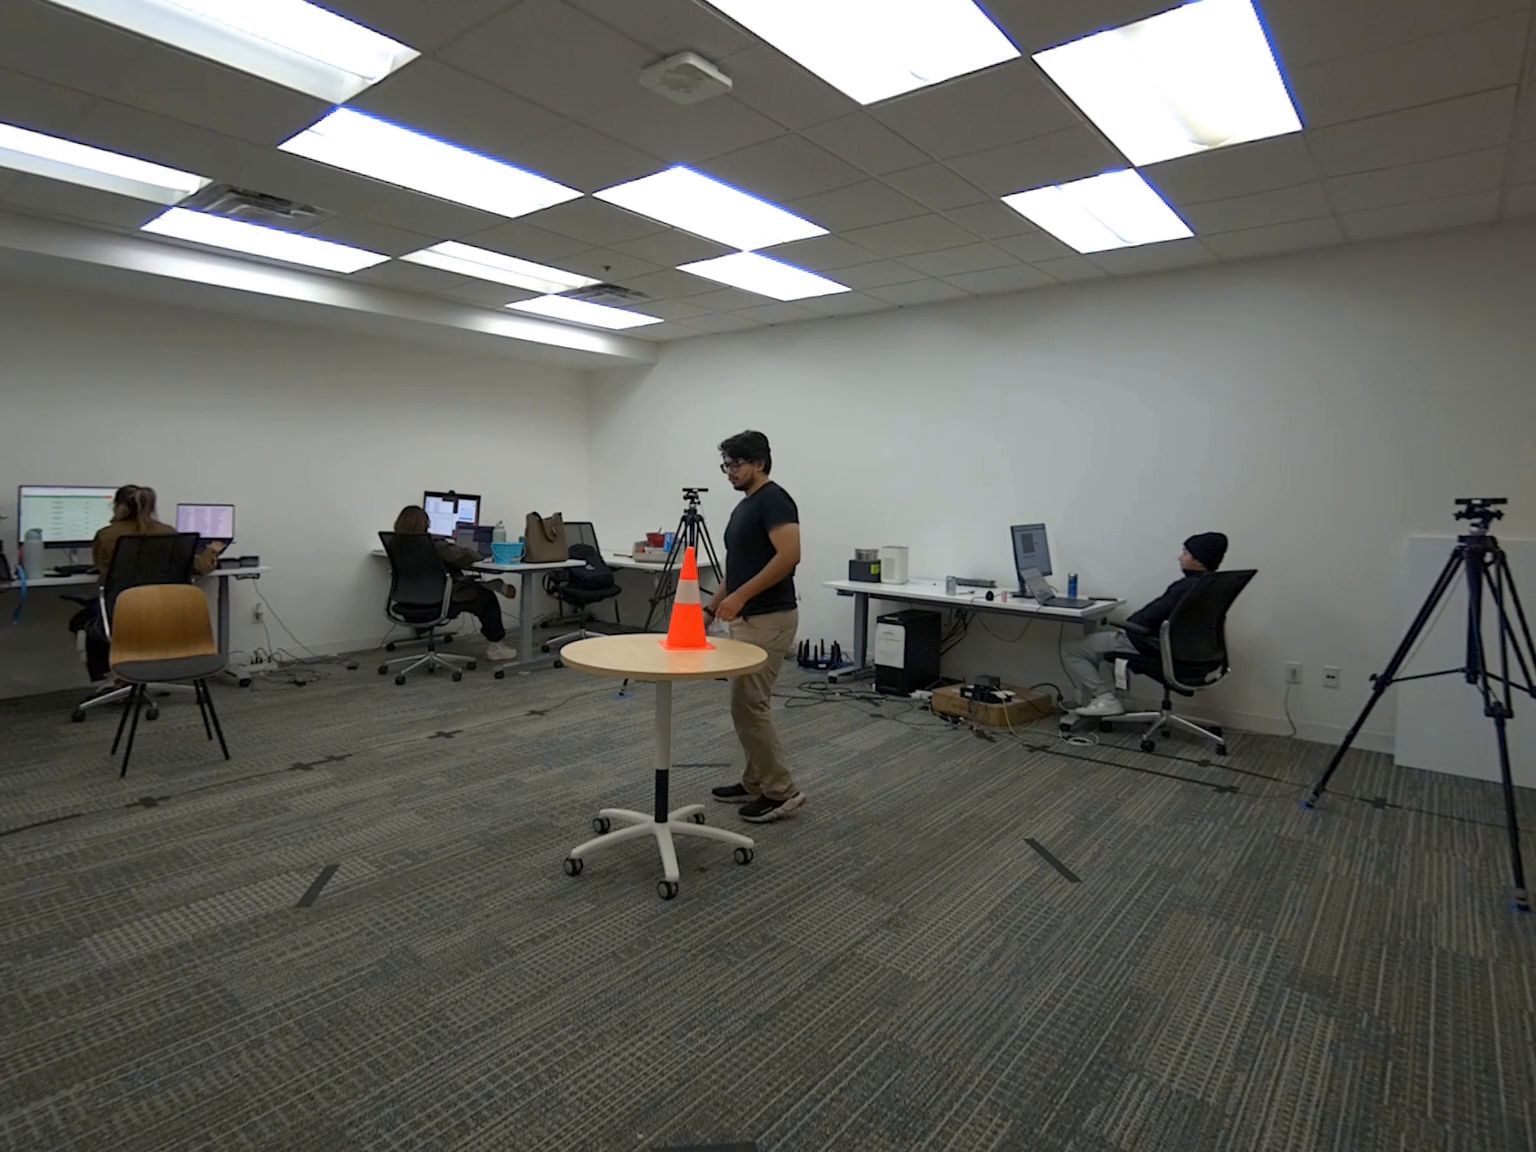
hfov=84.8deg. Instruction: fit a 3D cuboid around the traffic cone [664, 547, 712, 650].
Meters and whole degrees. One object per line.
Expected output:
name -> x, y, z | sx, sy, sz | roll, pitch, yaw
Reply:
traffic cone -> -0.319, 0.078, 3.299 | 0.199, 0.382, 0.210 | 1, 4, -22
